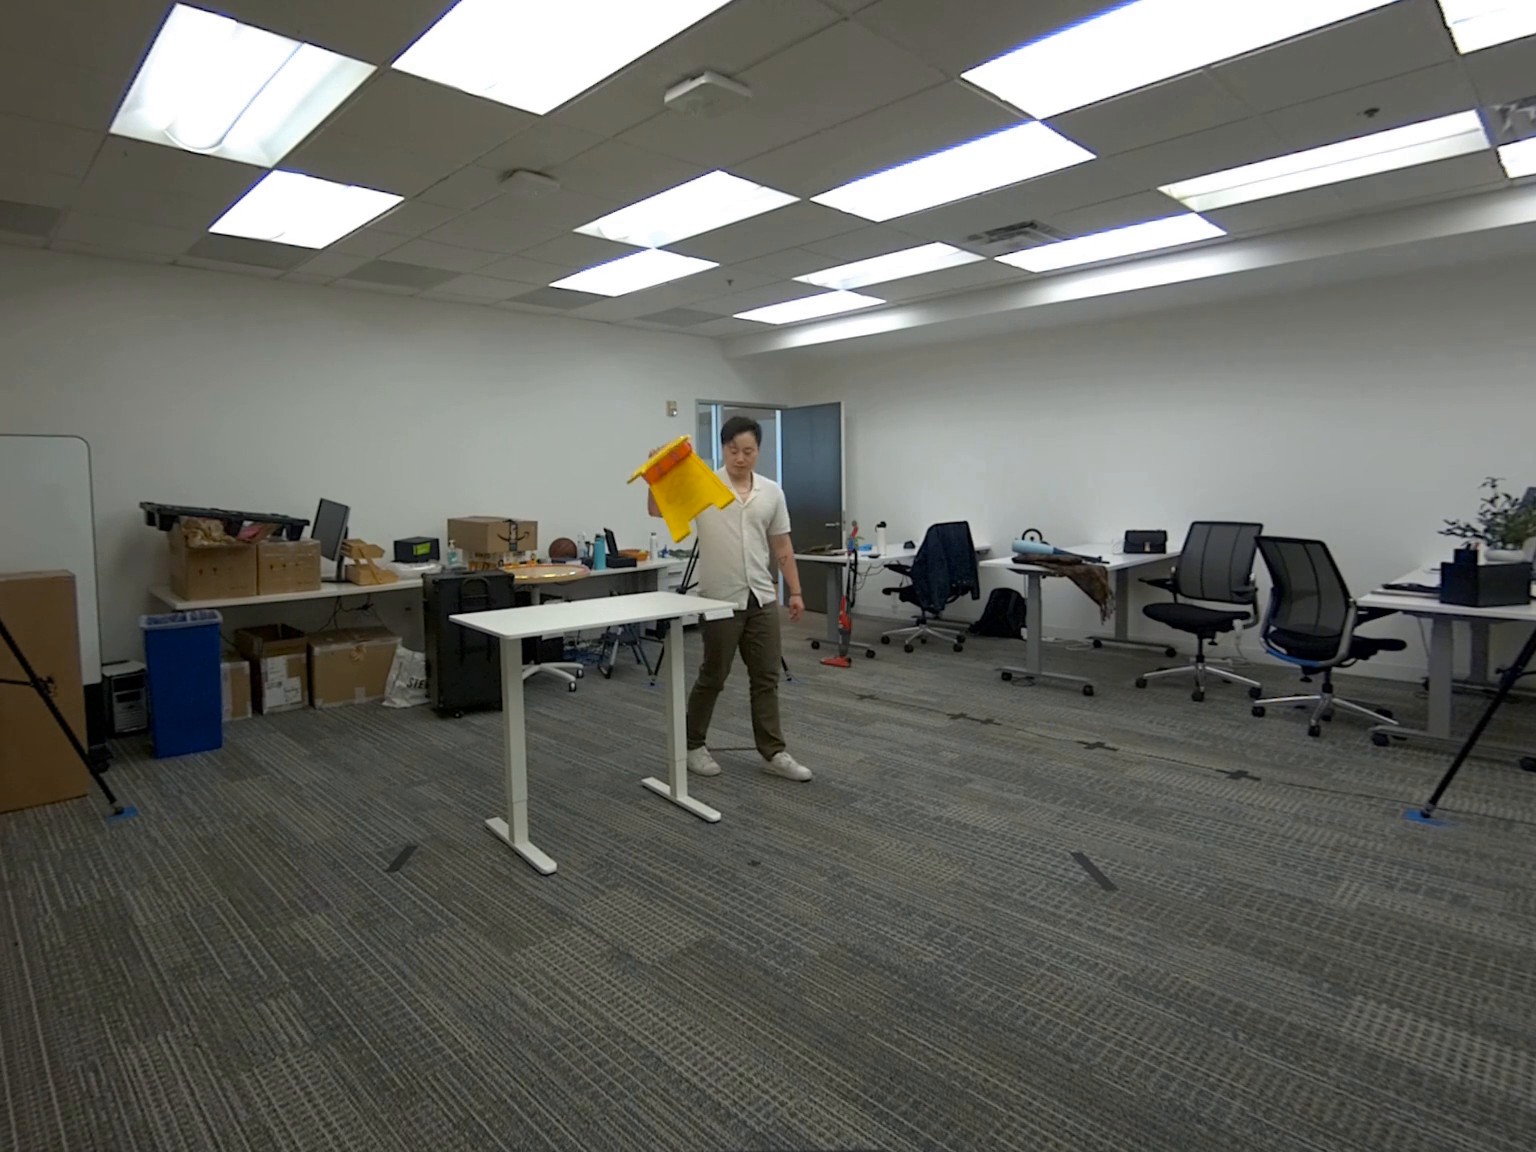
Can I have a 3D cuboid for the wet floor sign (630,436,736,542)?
[{"bbox_3d":[-0.381,-0.412,3.368,0.282,0.282,0.664,-38,24,1],"label":"wet floor sign"}]
